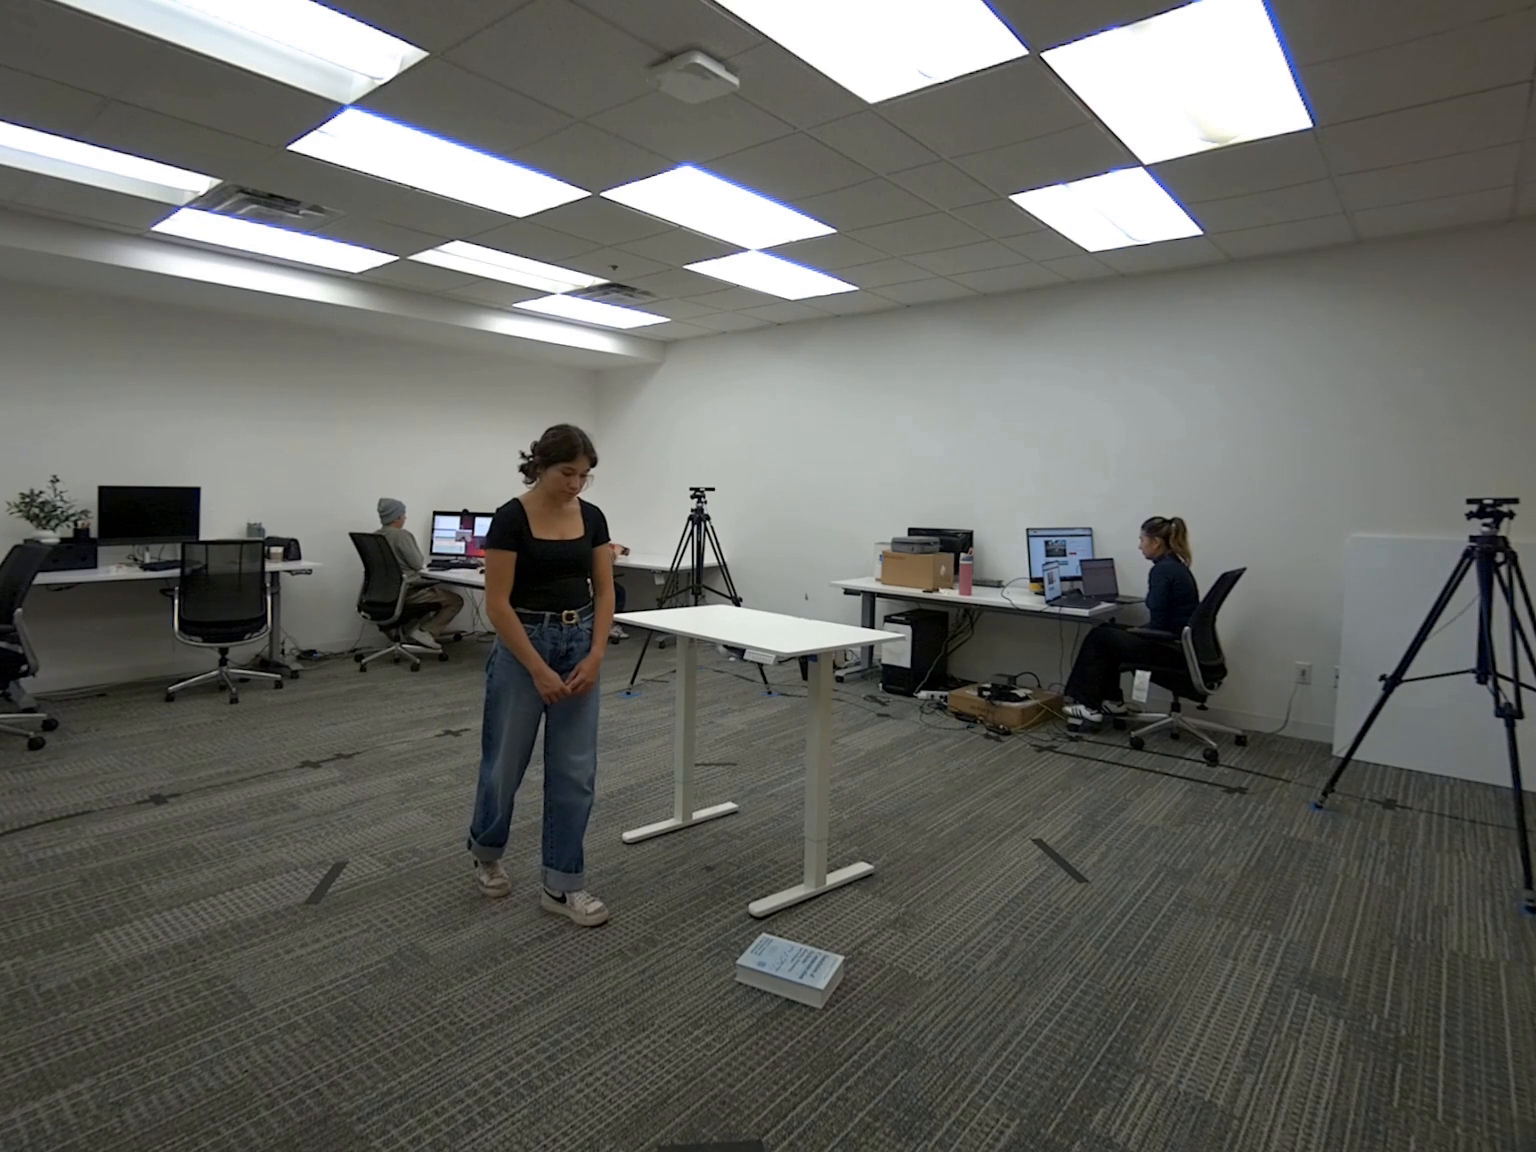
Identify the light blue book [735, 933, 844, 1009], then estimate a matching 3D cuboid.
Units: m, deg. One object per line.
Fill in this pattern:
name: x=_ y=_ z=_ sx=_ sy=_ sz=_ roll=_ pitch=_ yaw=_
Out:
light blue book: x=0.058 y=1.110 z=2.414 sx=0.268 sy=0.059 sz=0.187 roll=4 pitch=7 yaw=26
